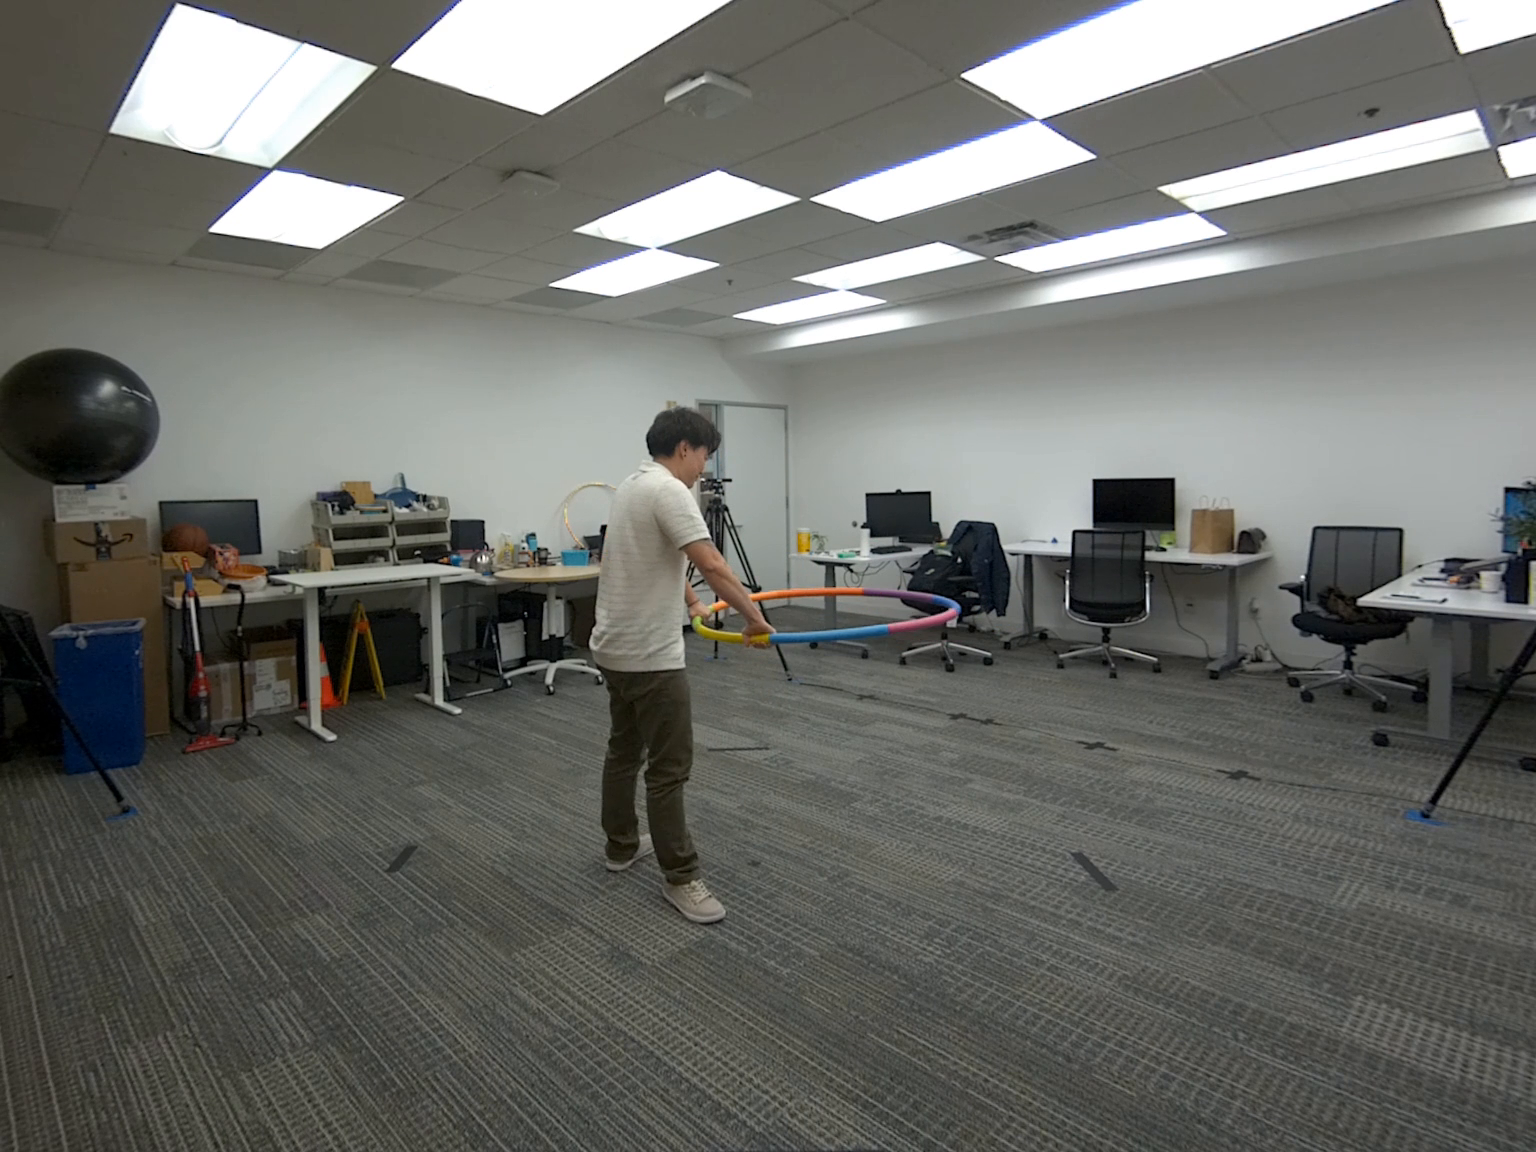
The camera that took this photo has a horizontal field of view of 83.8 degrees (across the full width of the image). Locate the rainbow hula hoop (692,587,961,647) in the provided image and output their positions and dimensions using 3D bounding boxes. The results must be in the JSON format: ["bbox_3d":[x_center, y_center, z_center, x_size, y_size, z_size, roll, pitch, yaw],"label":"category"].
[{"bbox_3d":[0.211,0.136,3.156,0.978,0.035,0.984,-4,7,-1],"label":"rainbow hula hoop"}]
